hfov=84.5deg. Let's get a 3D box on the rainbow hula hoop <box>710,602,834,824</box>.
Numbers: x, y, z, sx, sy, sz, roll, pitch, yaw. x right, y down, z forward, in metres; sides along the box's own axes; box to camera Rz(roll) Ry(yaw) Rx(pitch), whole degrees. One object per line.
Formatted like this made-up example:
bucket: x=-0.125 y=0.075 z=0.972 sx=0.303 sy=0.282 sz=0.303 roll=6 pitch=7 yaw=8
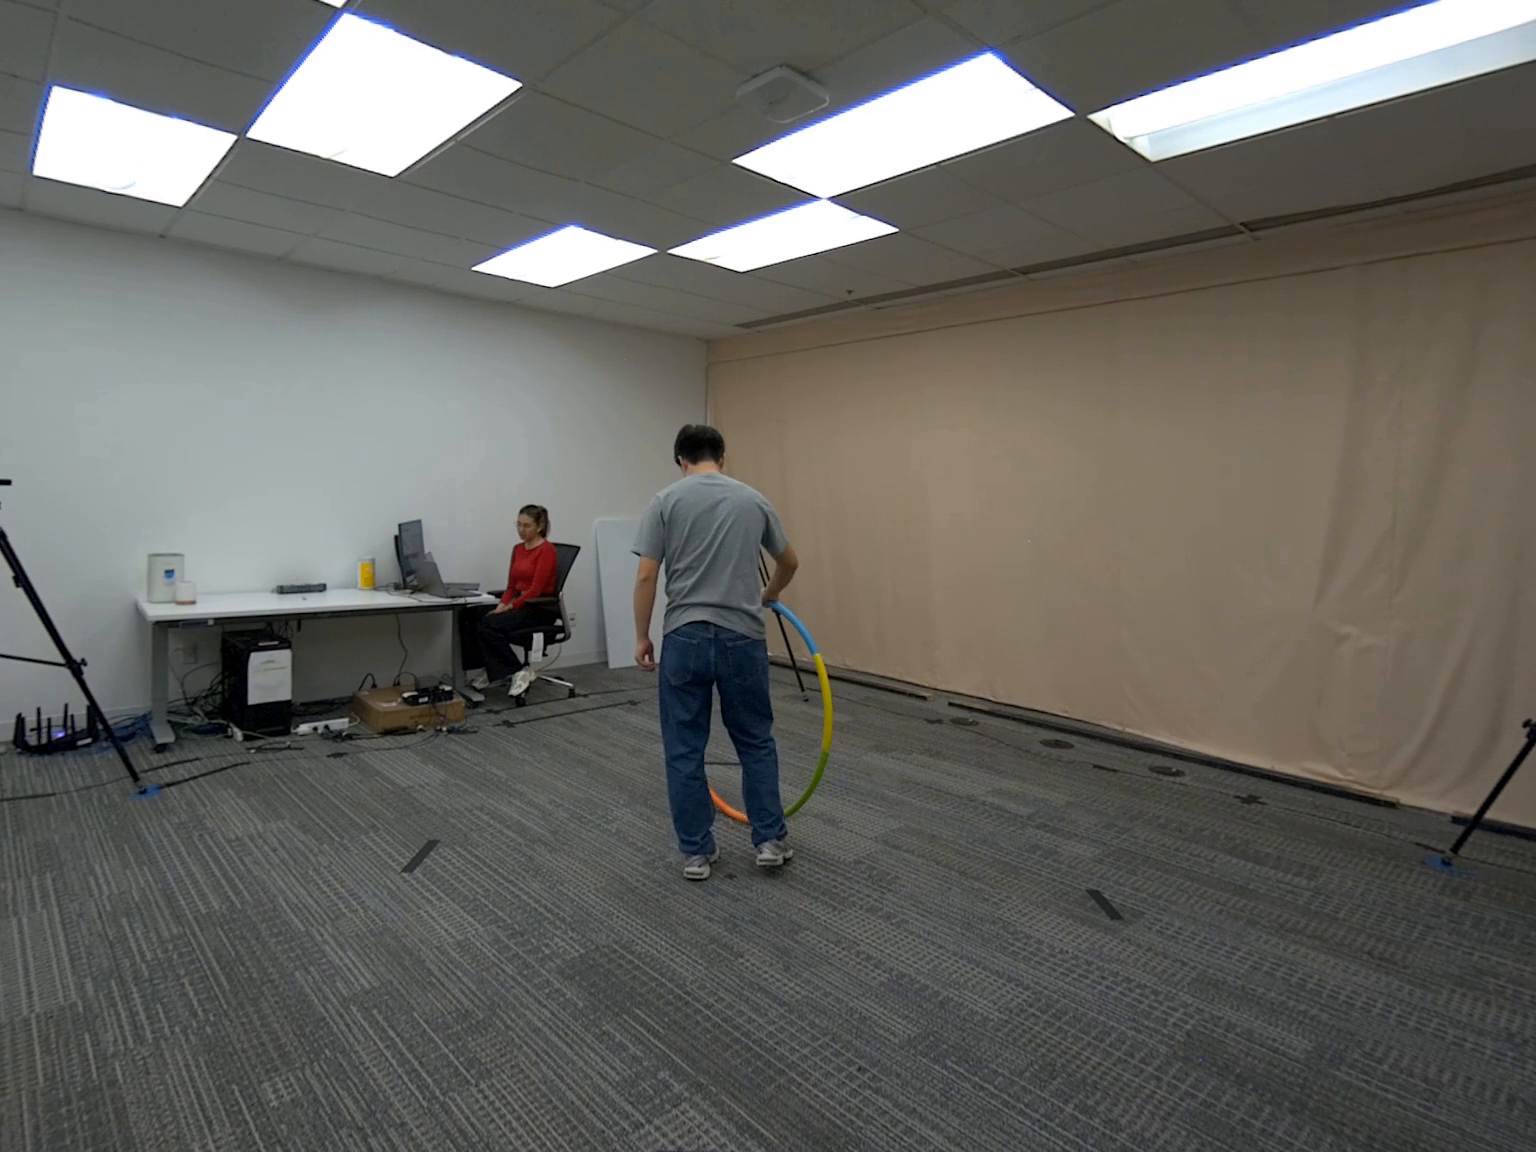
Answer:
rainbow hula hoop: x=-0.106 y=0.565 z=3.658 sx=0.034 sy=0.978 sz=1.004 roll=4 pitch=1 yaw=-44
